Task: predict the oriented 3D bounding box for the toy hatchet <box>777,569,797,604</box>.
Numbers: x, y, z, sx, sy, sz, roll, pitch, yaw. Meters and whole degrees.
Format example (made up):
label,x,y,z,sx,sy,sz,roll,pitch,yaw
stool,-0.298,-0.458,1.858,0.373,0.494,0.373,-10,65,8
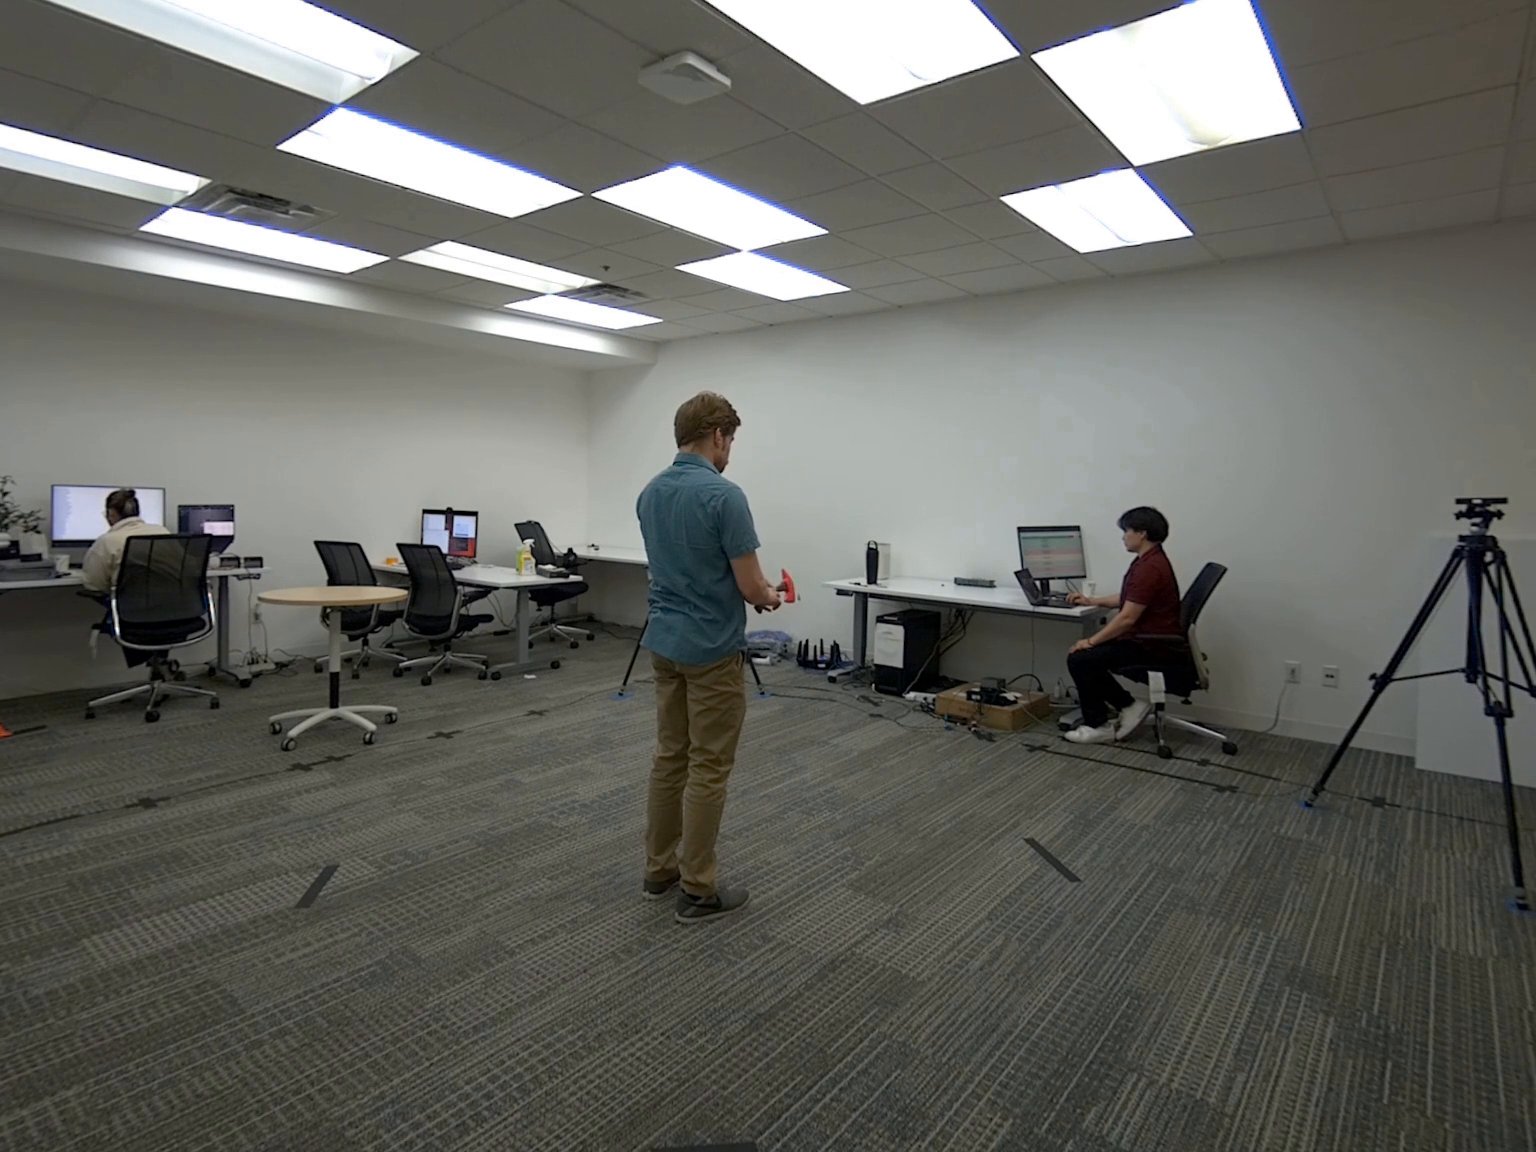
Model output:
label,x,y,z,sx,sy,sz,roll,pitch,yaw
toy hatchet,0.037,0.086,3.153,0.030,0.128,0.272,-17,24,28
